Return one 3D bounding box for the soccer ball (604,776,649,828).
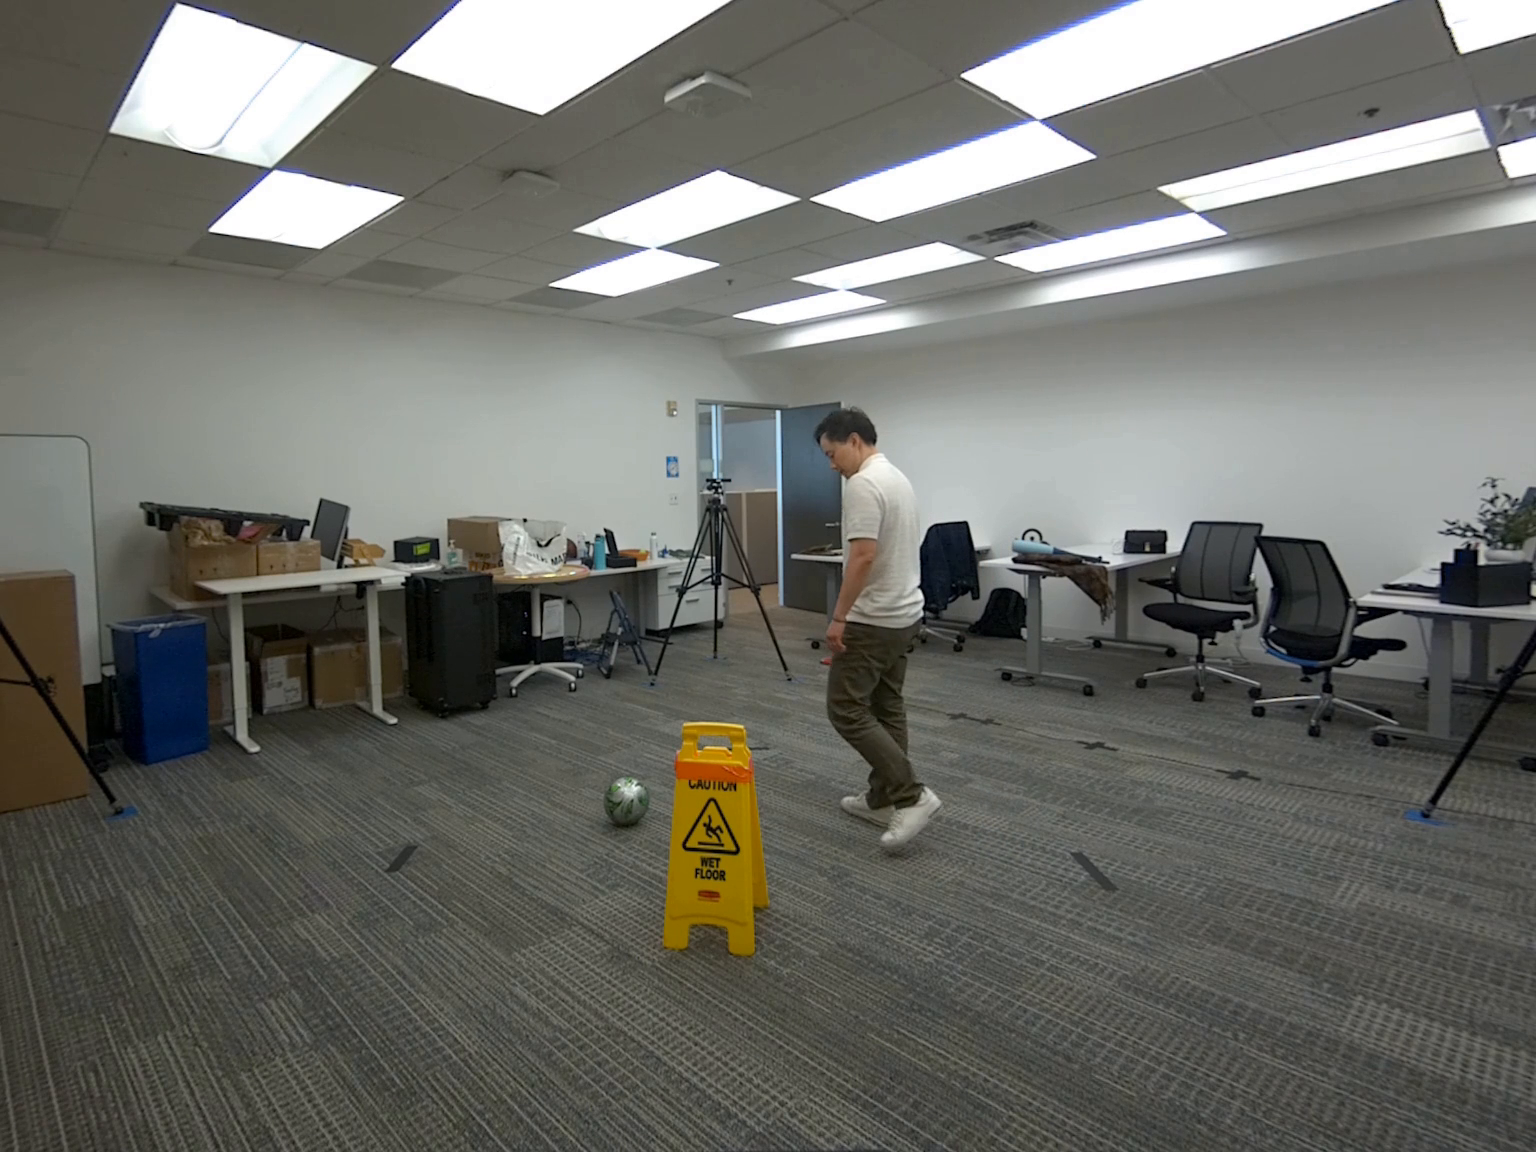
[{"bbox_3d":[-0.571,0.917,3.487,0.187,0.187,0.188,-1,5,-2],"label":"soccer ball"}]
